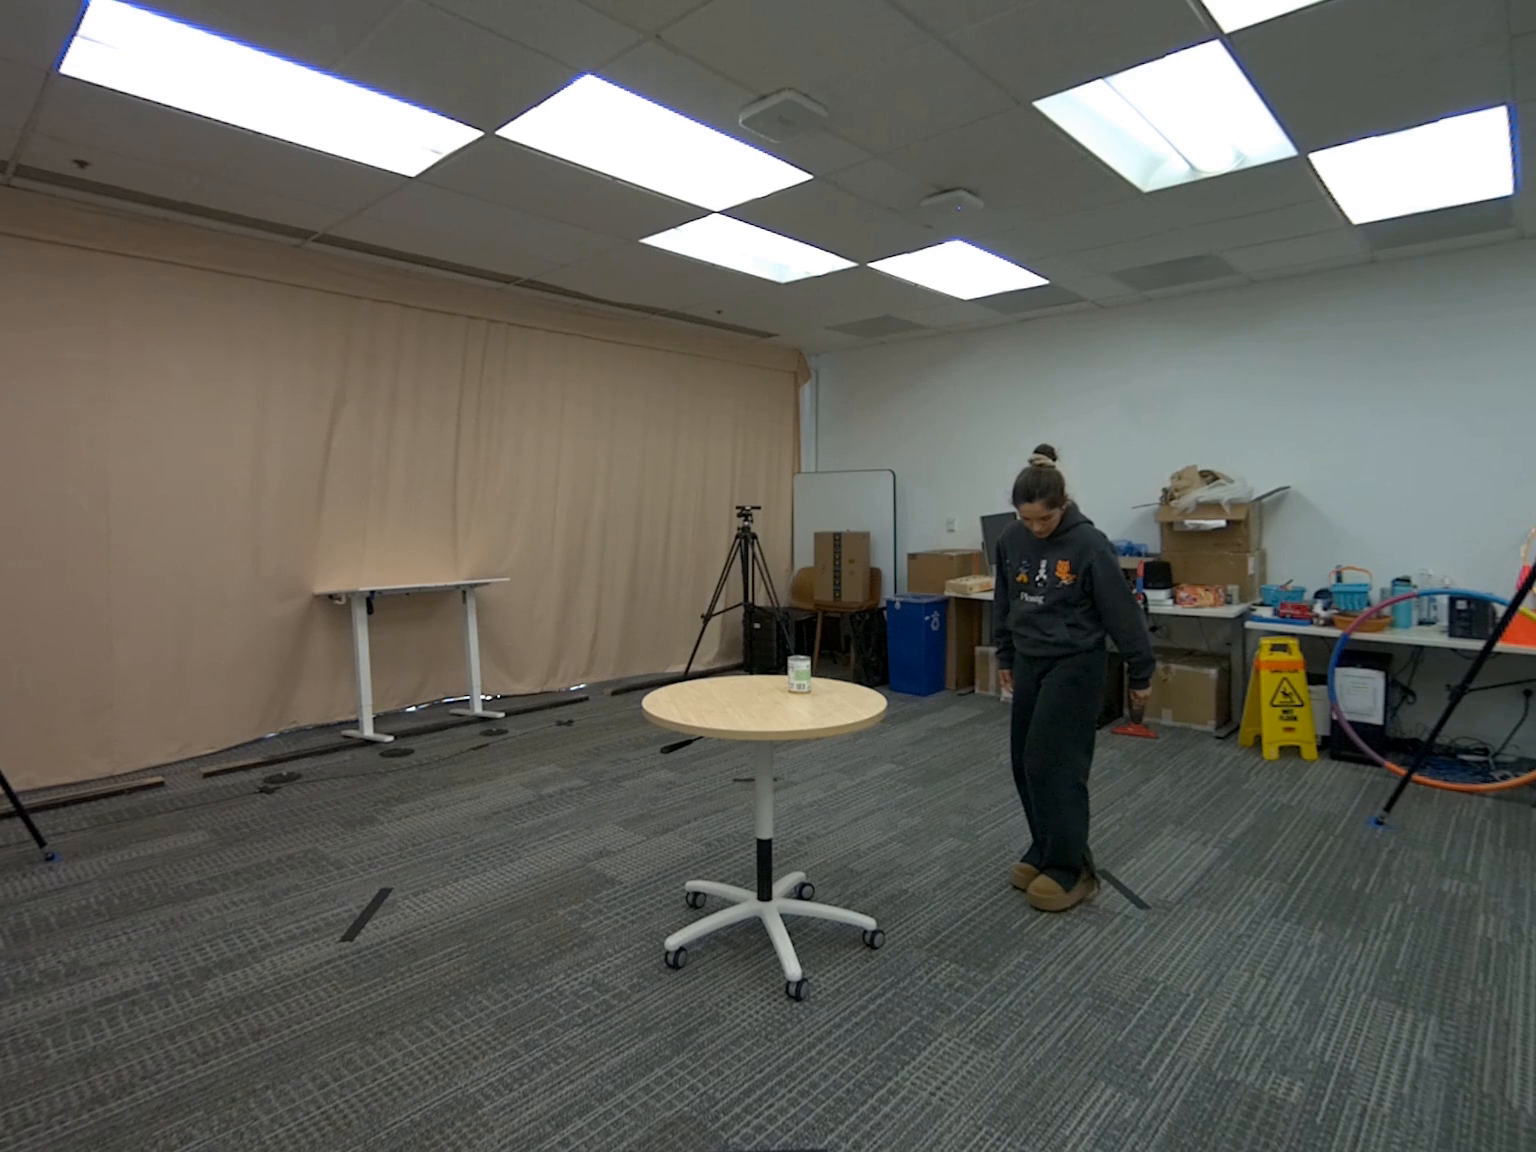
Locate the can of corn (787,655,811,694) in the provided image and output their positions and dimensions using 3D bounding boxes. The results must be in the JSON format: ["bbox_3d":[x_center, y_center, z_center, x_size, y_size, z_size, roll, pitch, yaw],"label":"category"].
[{"bbox_3d":[0.119,0.324,2.749,0.074,0.111,0.074,-1,3,-2],"label":"can of corn"}]
